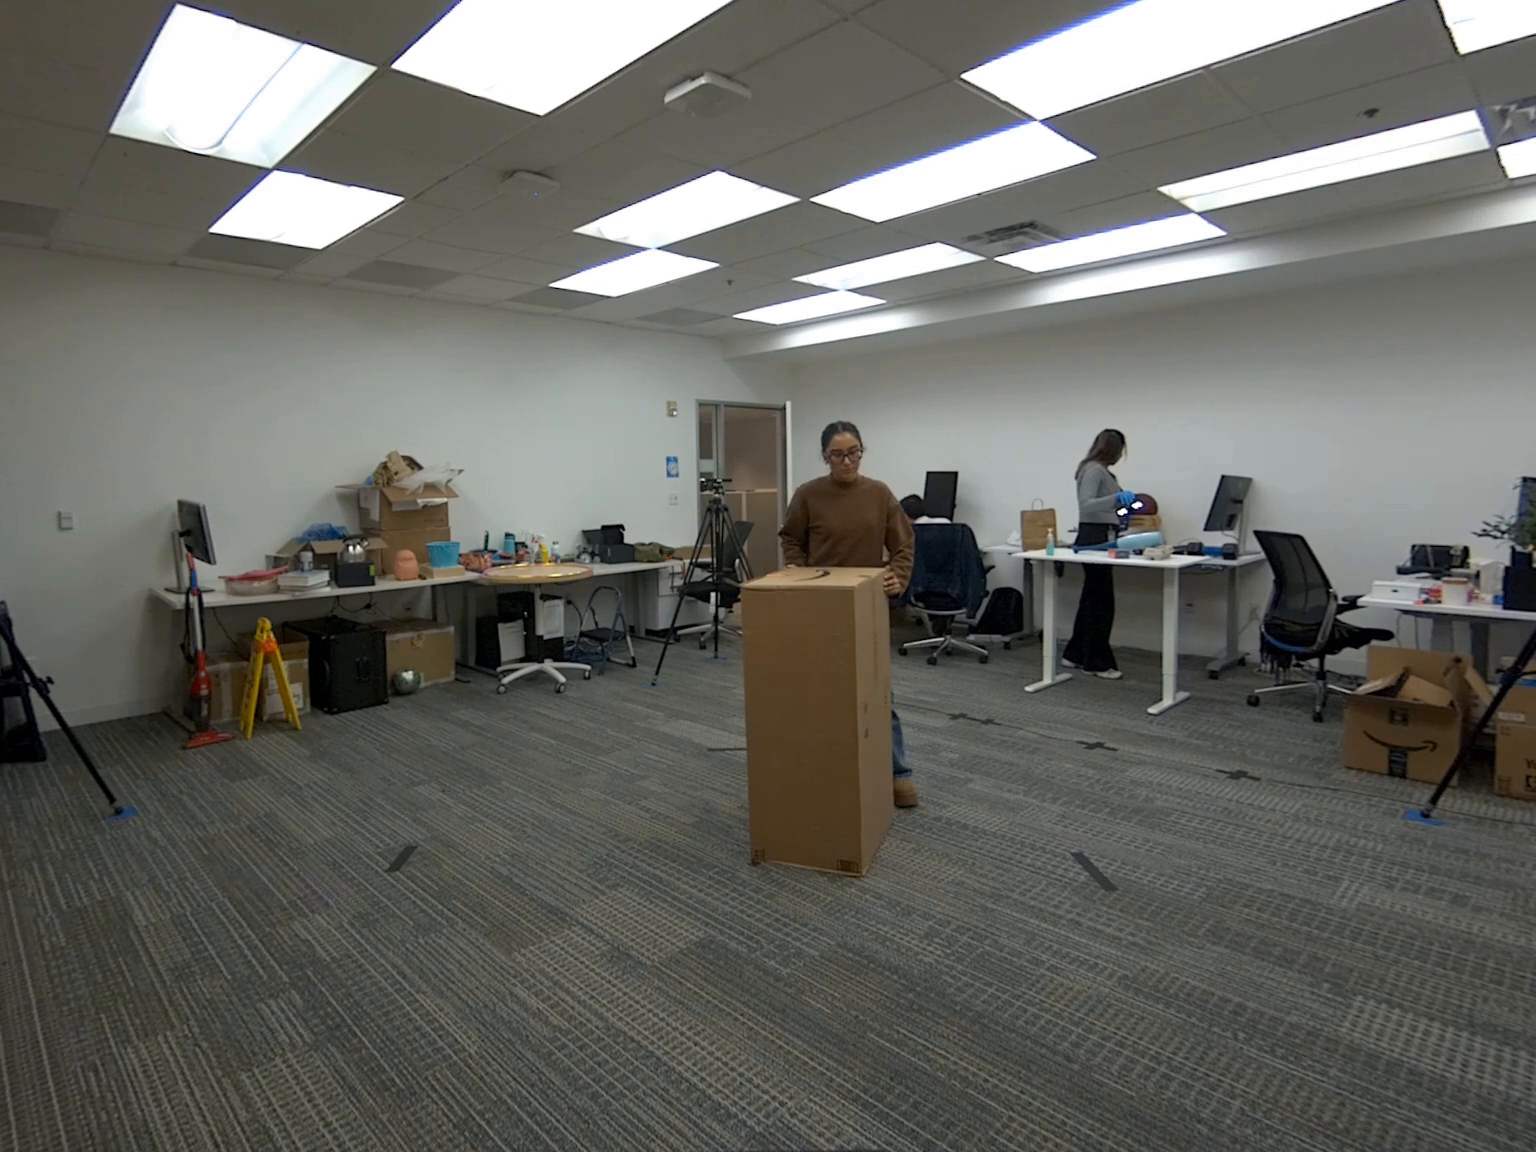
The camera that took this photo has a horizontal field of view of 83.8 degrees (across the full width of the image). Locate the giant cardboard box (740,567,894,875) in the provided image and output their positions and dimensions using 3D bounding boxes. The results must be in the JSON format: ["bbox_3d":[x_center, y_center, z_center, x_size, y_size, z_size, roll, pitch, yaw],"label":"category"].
[{"bbox_3d":[0.202,0.509,3.279,0.435,1.022,0.568,0,4,22],"label":"giant cardboard box"}]
